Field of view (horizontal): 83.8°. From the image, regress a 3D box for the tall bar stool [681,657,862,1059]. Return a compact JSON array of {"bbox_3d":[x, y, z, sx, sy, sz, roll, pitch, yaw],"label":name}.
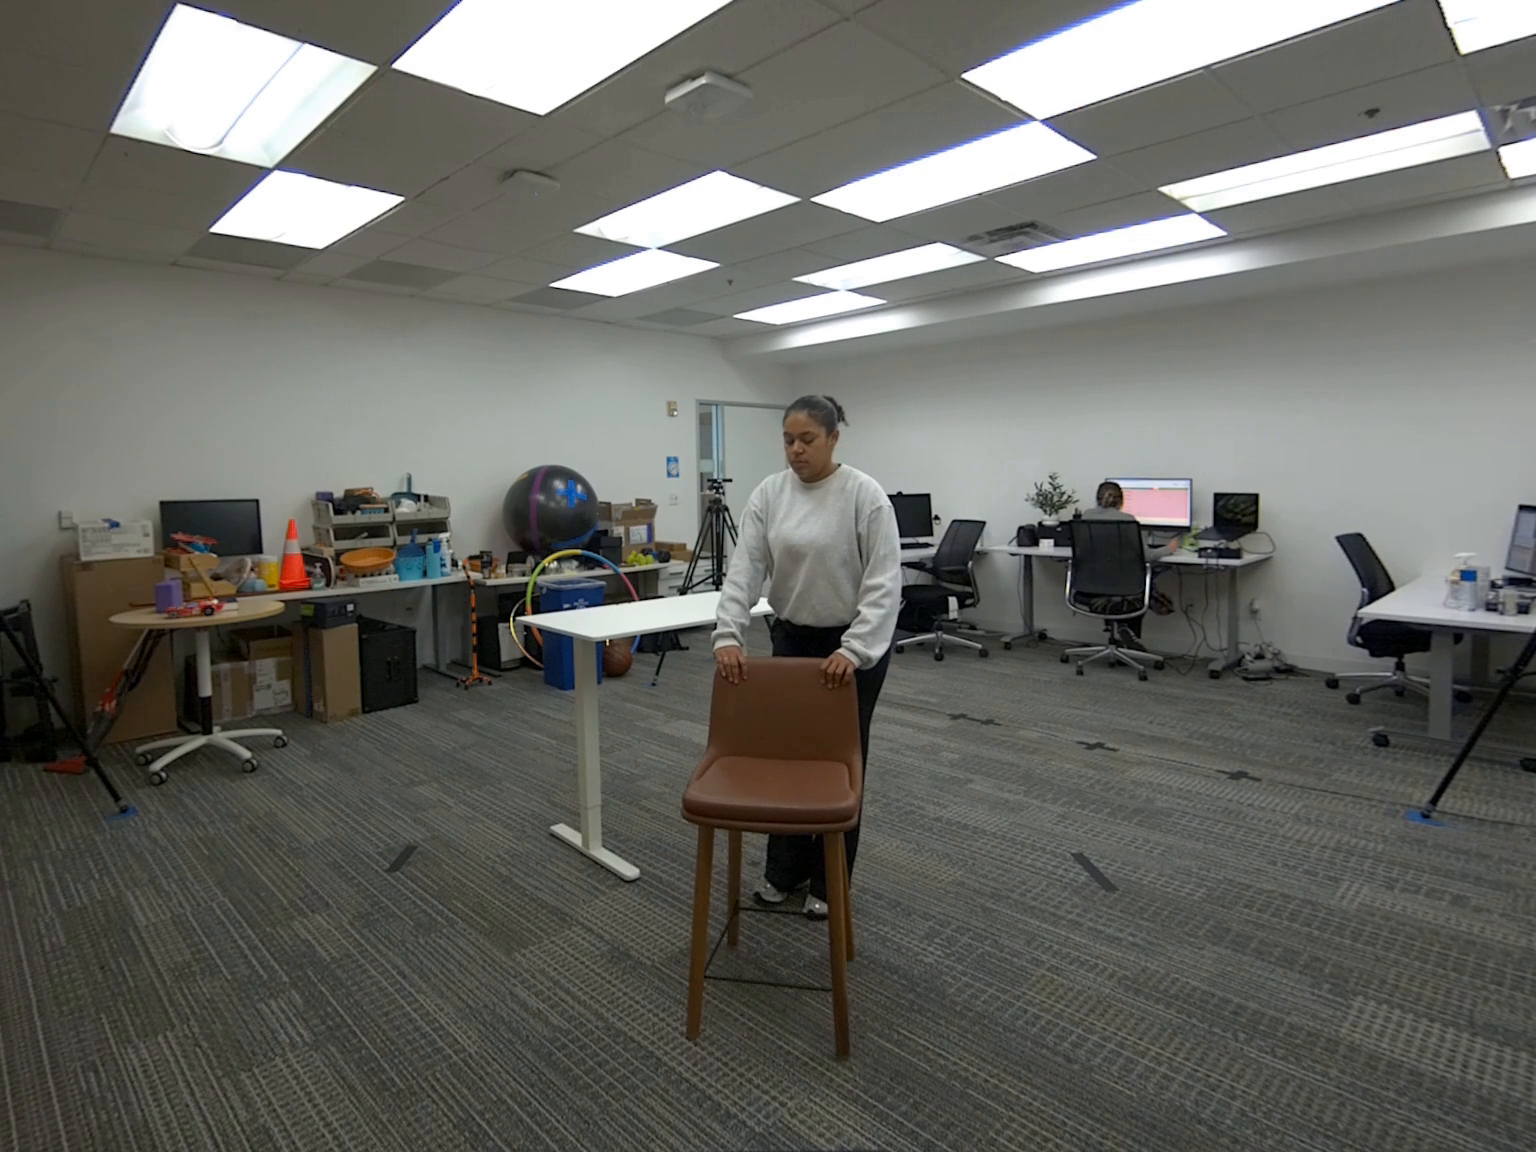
[{"bbox_3d":[0.028,0.704,2.297,0.462,0.888,0.463,1,3,12],"label":"tall bar stool"}]
